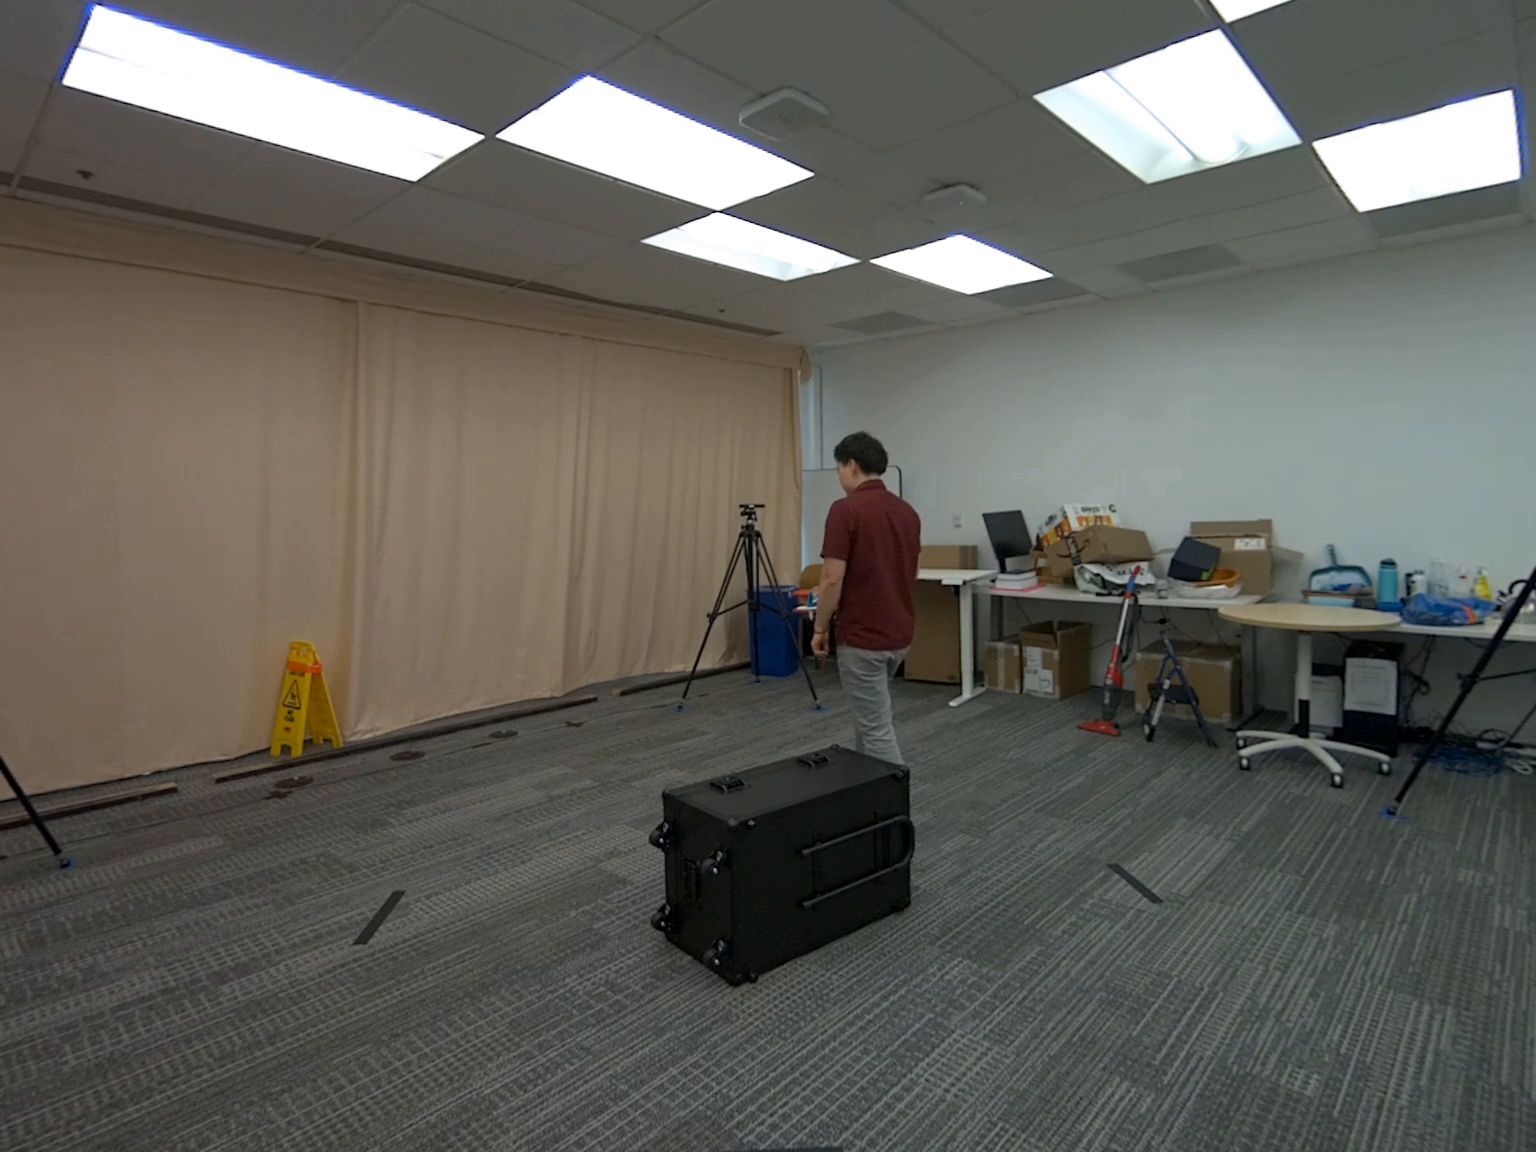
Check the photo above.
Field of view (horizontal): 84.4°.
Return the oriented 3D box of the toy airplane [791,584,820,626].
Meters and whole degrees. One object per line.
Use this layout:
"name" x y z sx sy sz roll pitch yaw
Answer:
"toy airplane" 0.249 0.131 3.758 0.249 0.157 0.259 2 -7 -6
